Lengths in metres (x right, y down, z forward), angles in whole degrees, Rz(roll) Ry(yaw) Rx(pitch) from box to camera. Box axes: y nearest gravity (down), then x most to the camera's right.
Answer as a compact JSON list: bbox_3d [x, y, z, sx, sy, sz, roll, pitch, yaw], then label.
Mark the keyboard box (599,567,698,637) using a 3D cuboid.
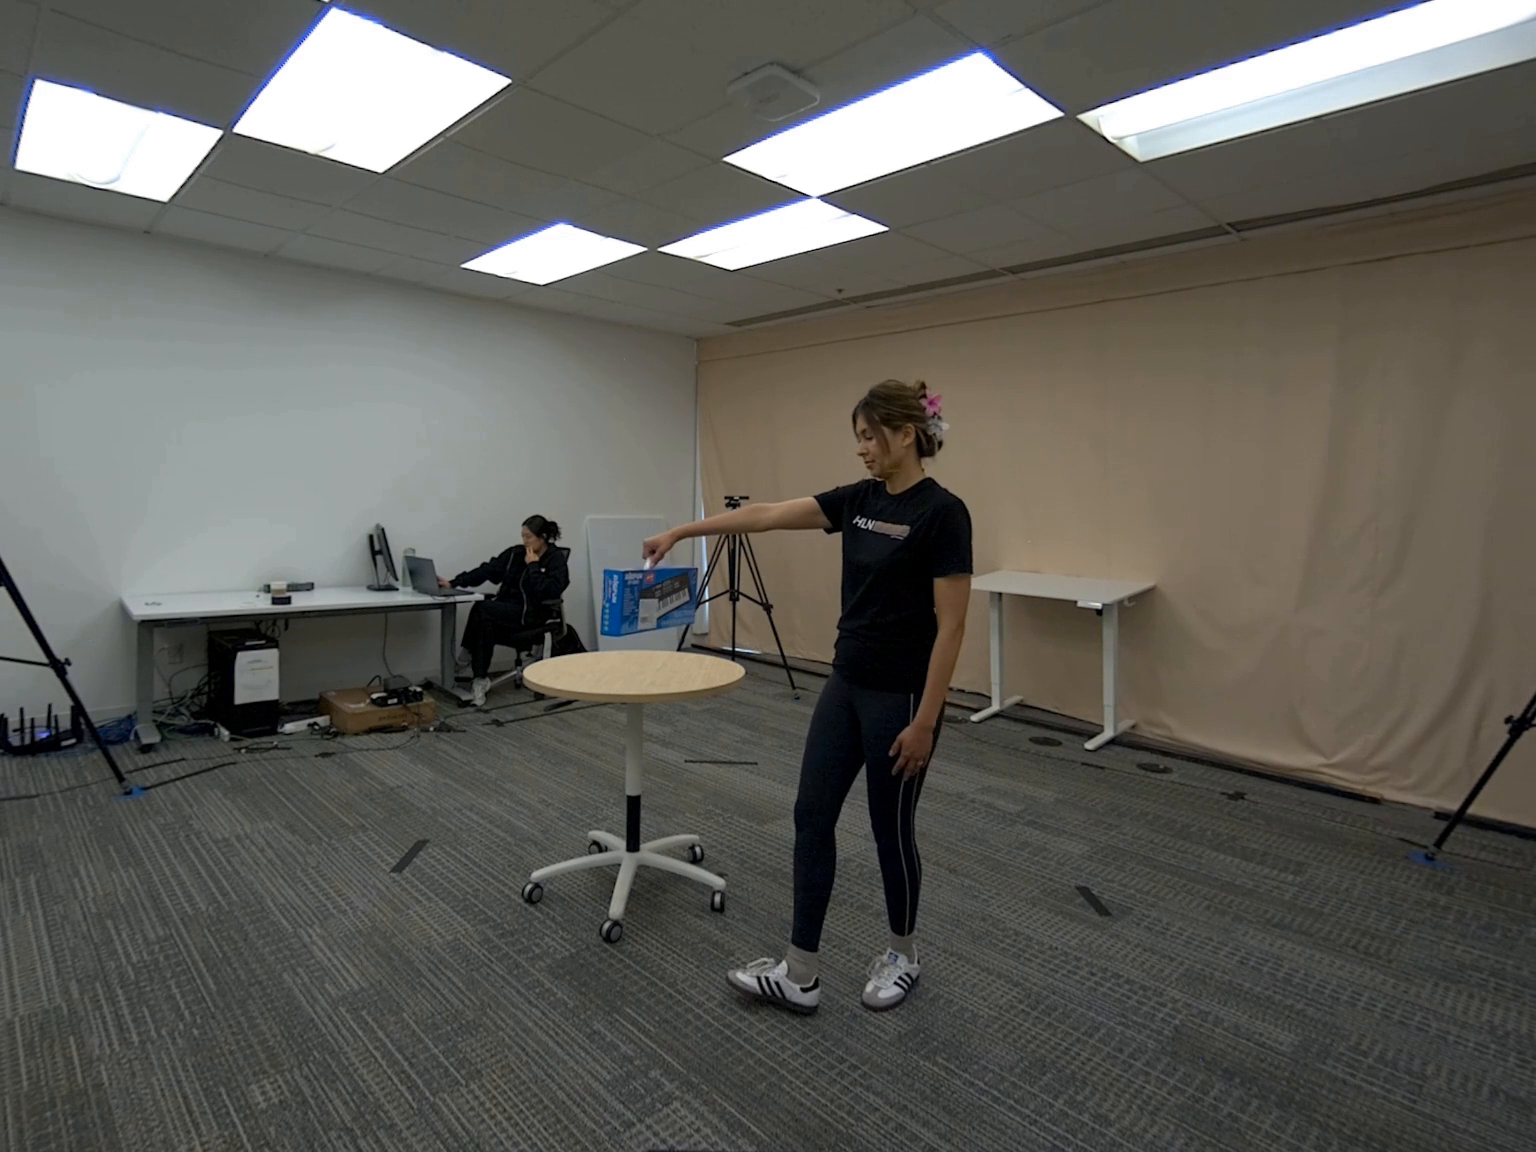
[{"bbox_3d":[-0.323,0.069,2.351,0.060,0.176,0.430,3,3,19],"label":"keyboard box"}]
